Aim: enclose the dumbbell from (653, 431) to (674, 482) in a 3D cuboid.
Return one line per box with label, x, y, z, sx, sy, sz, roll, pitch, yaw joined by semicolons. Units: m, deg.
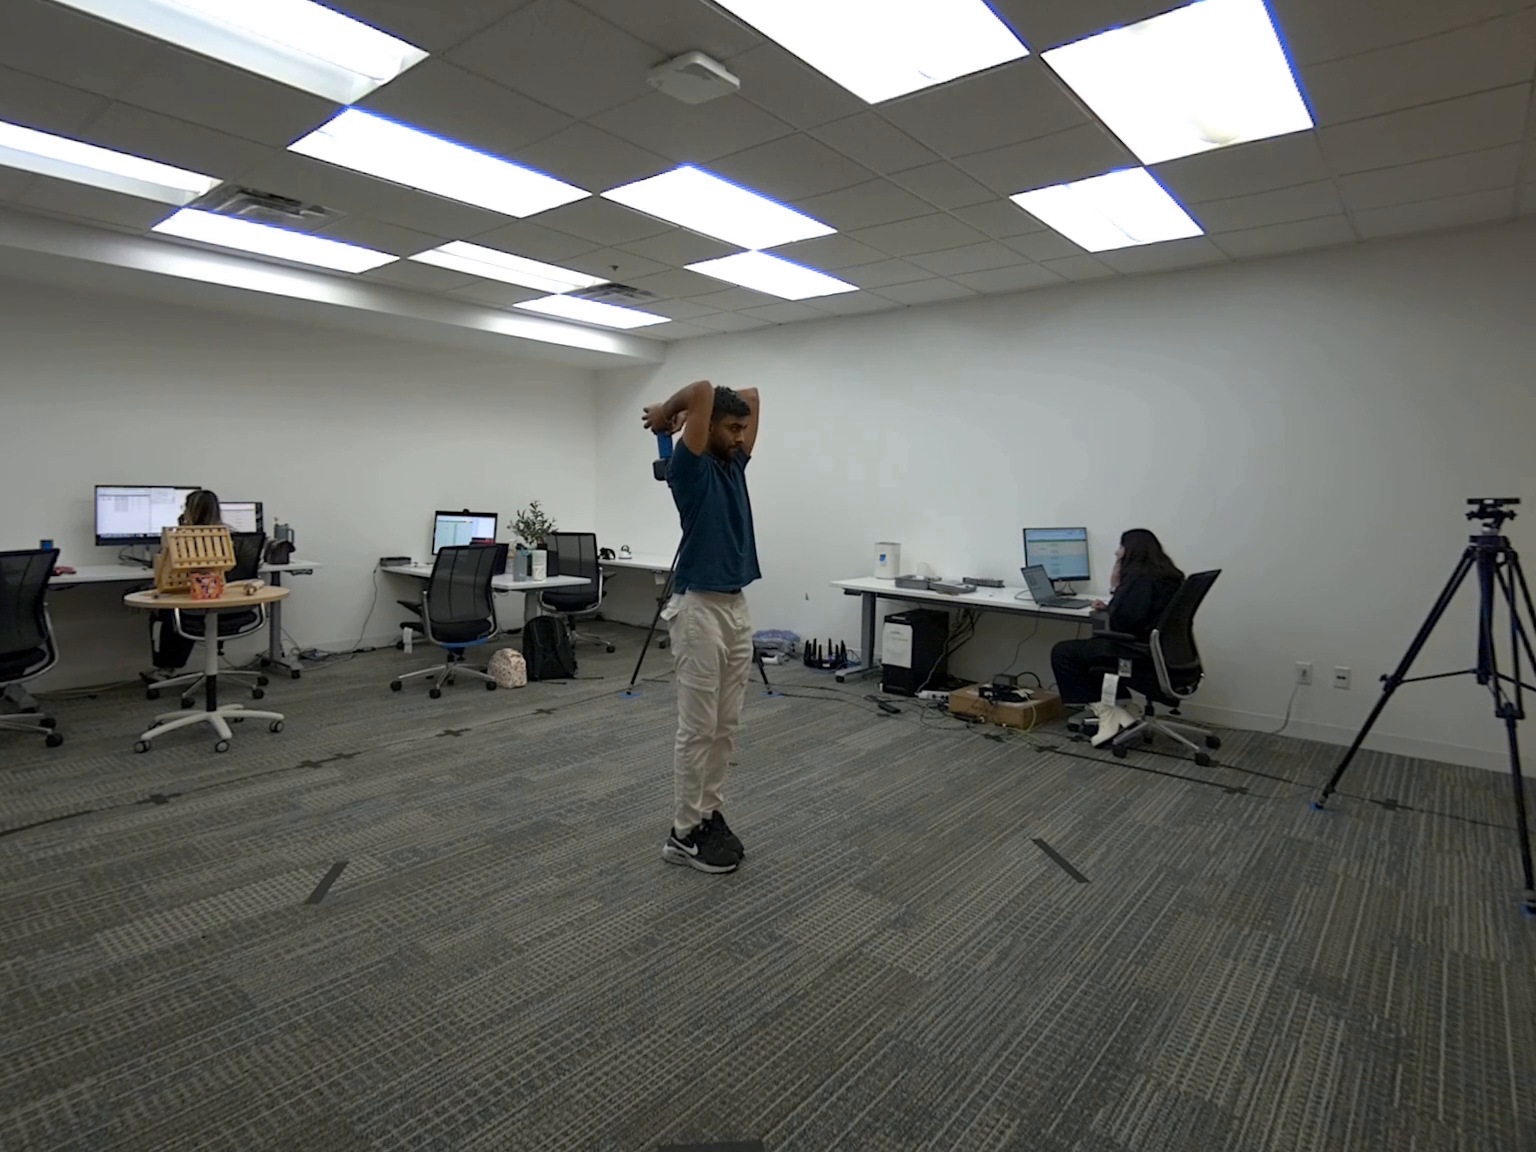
dumbbell;-0.402;-0.527;3.307;0.126;0.294;0.106;-11;-1;33
